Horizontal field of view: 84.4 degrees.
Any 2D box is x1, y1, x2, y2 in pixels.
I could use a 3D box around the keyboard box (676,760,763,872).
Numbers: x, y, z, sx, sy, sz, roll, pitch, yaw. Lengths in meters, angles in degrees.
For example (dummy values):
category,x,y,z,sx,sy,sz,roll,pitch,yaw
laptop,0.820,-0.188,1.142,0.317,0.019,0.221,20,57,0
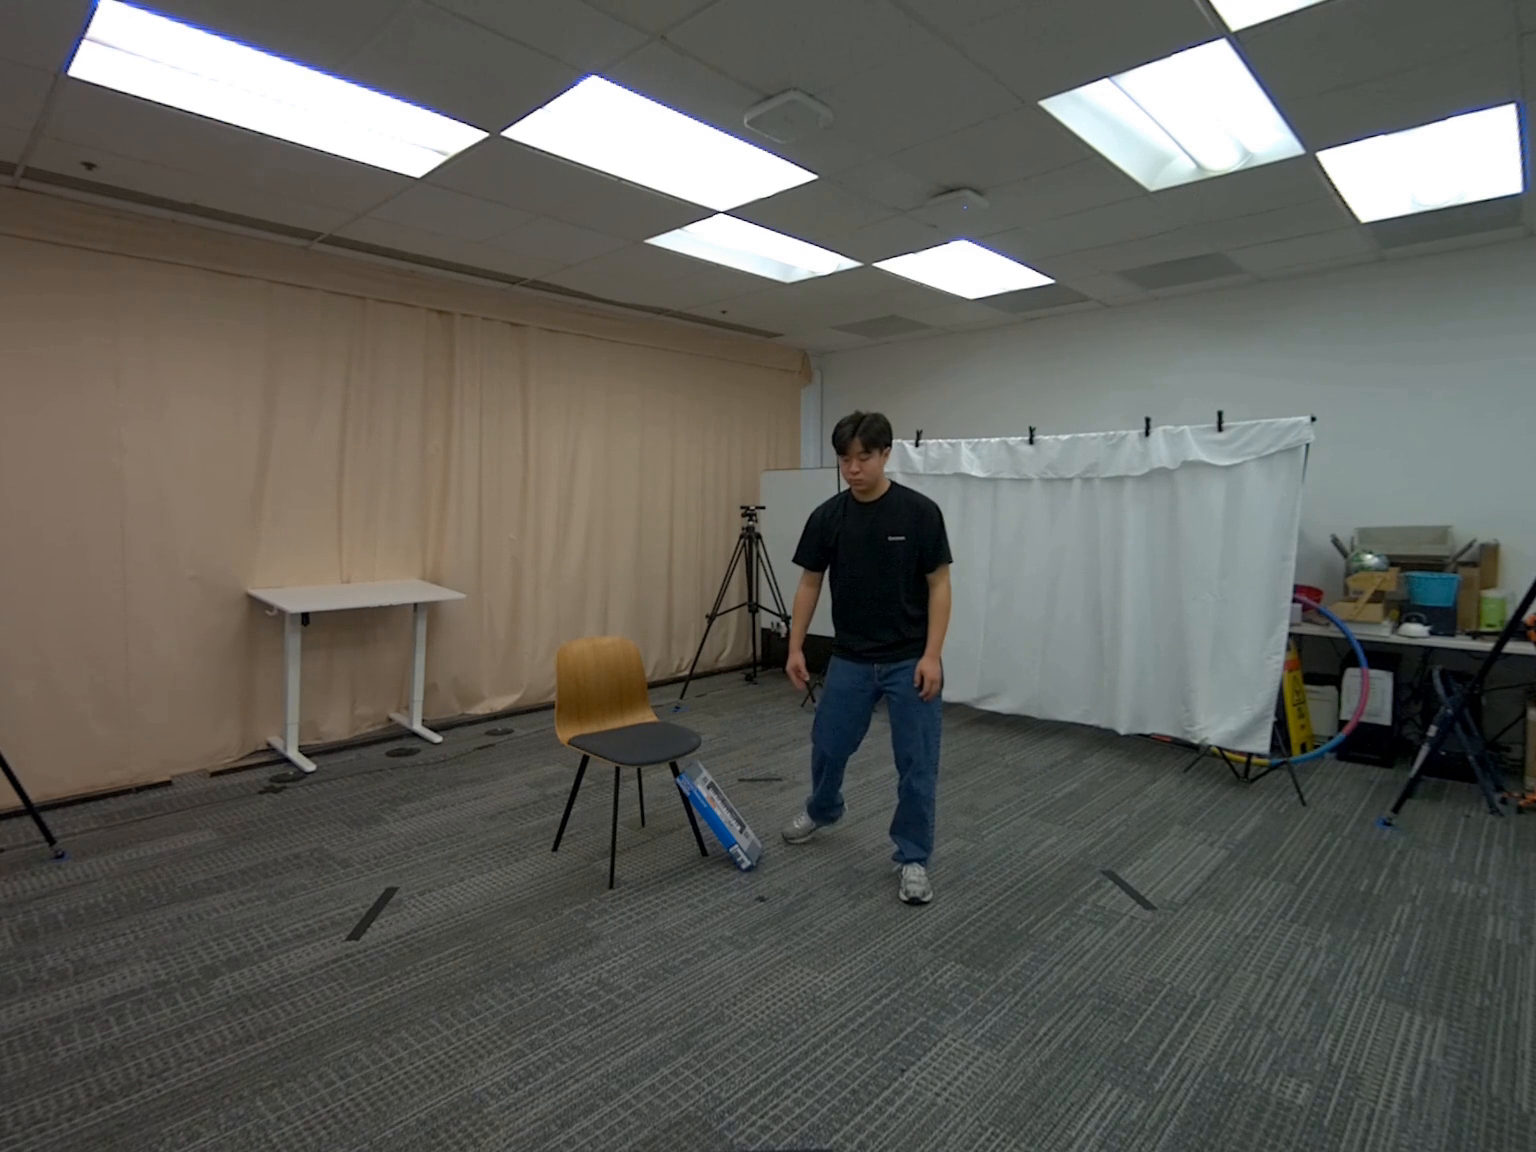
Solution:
category,x,y,z,sx,sy,sz,roll,pitch,yaw
keyboard box,-0.186,0.941,3.305,0.059,0.440,0.173,-40,-7,12
